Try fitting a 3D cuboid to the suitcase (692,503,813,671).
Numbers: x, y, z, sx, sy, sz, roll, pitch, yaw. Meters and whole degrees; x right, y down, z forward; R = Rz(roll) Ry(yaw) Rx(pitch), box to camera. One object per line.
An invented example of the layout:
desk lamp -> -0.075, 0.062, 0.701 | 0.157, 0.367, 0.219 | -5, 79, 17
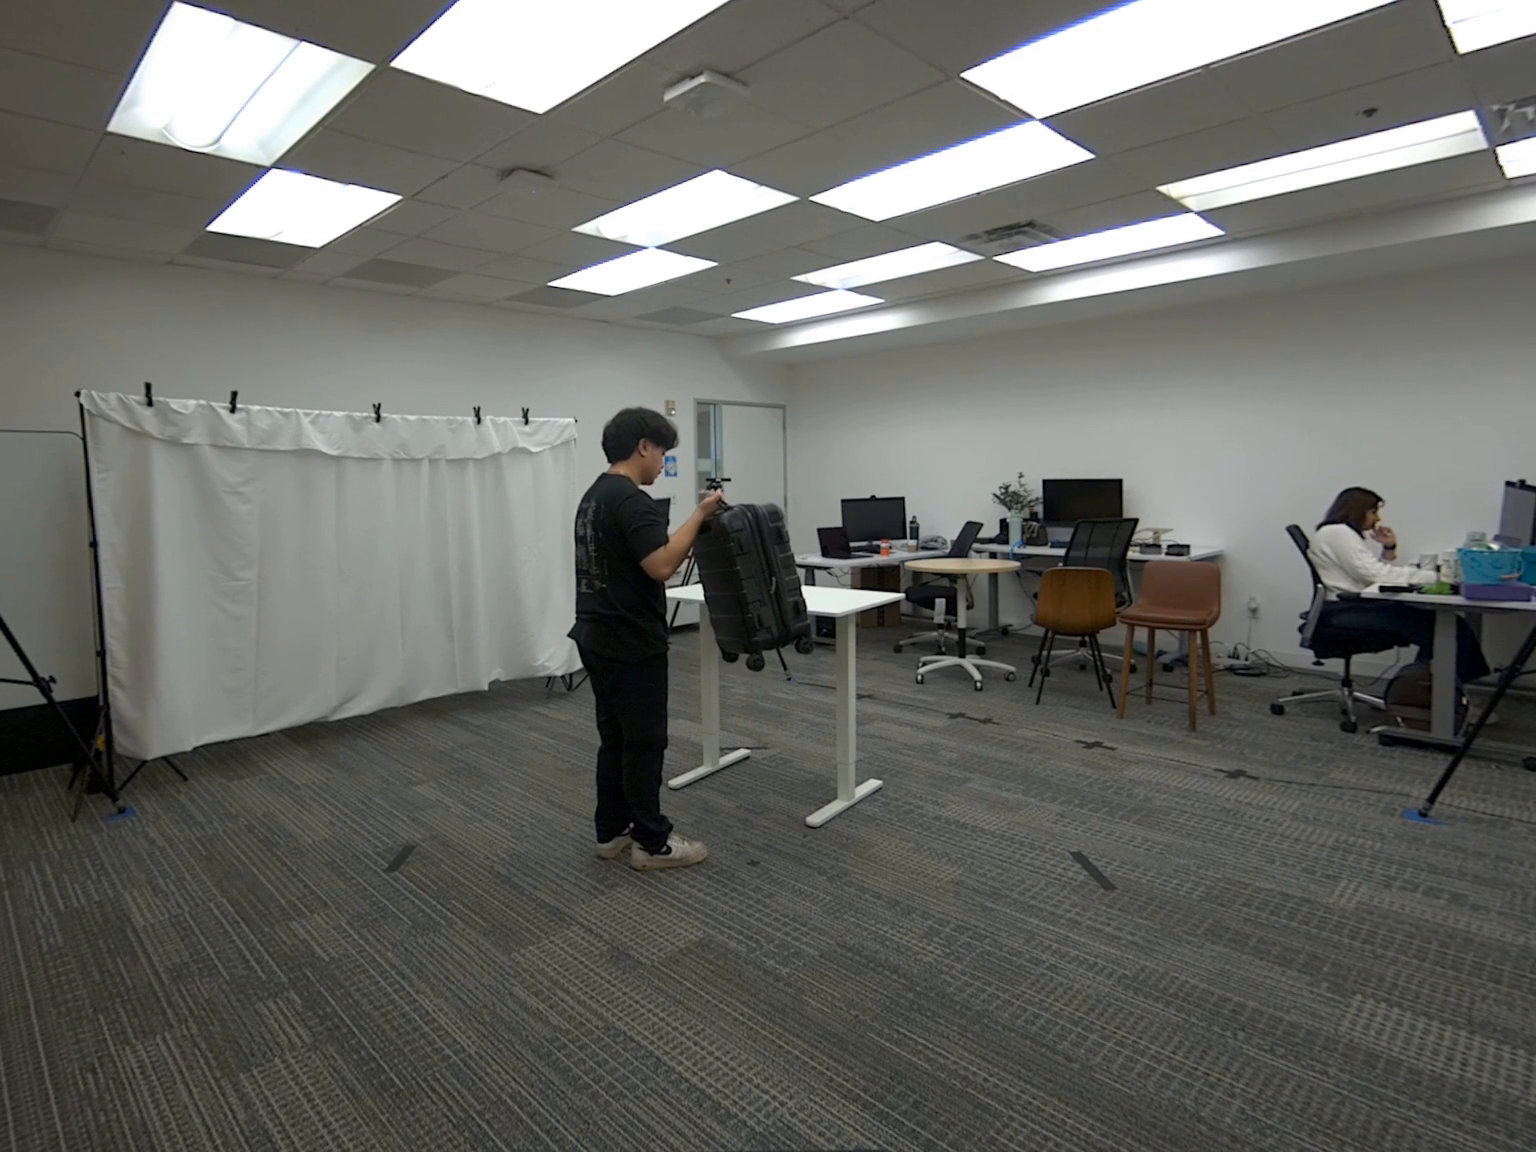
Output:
suitcase -> -0.067, 0.024, 3.005 | 0.244, 0.548, 0.382 | -14, 2, -23
